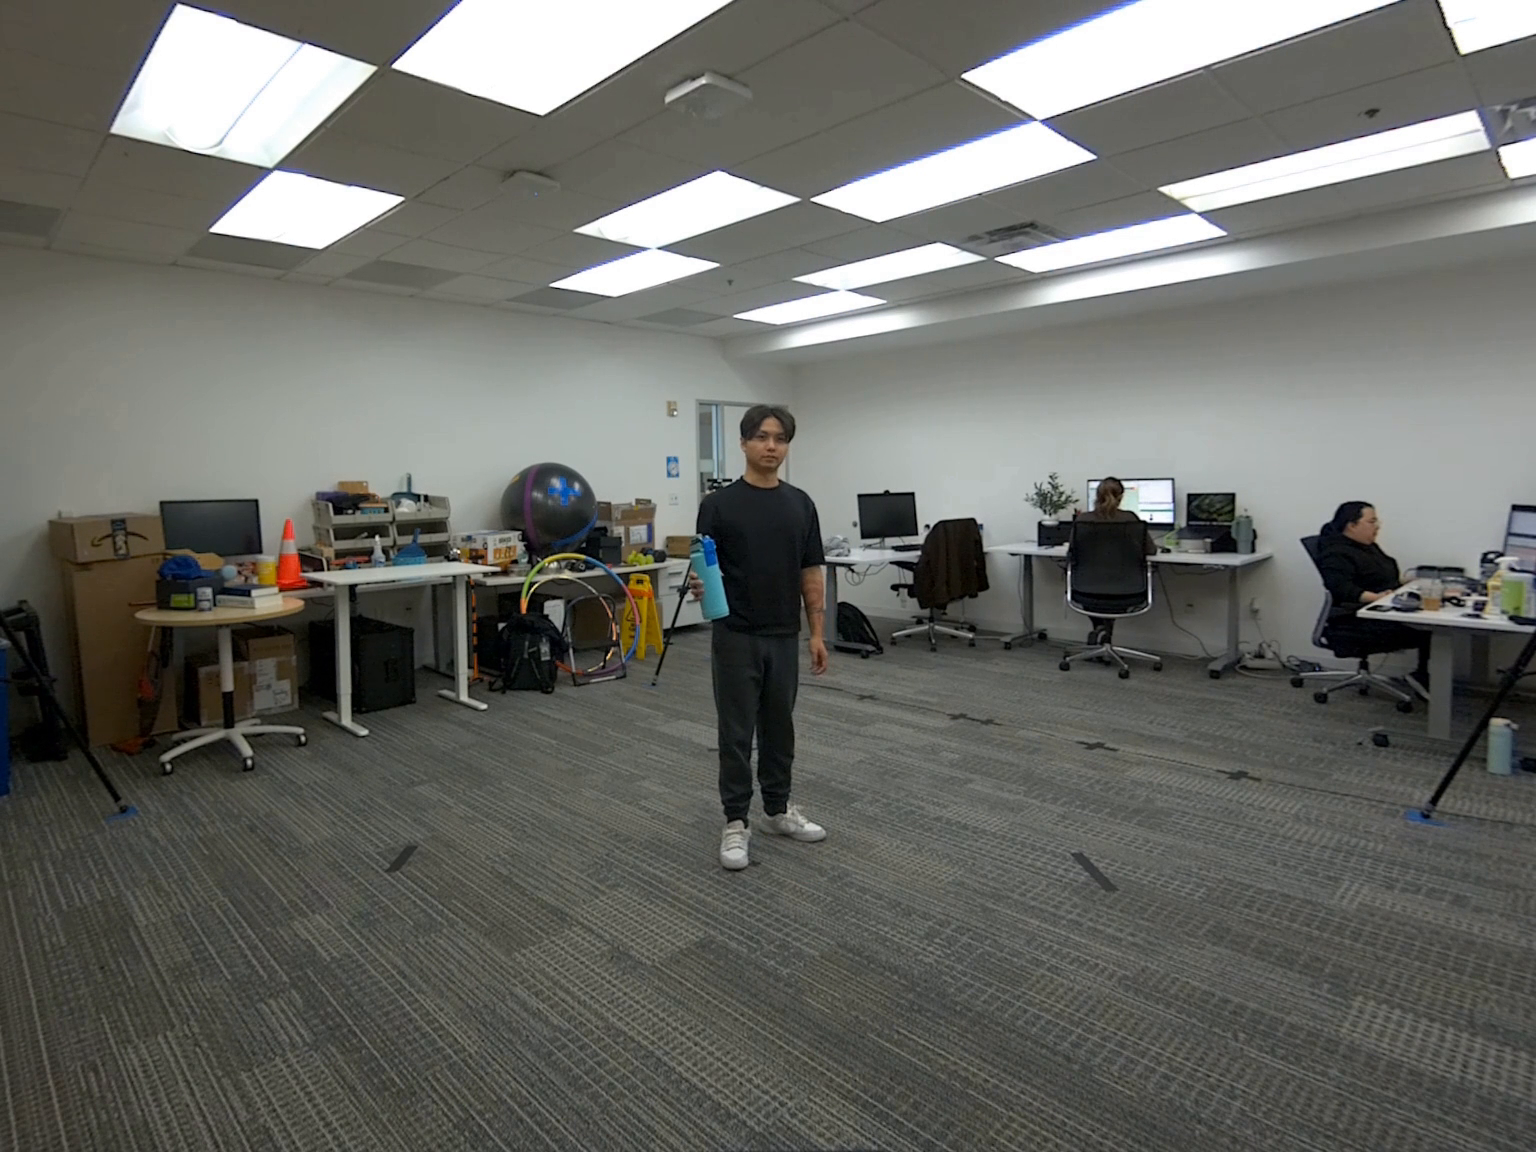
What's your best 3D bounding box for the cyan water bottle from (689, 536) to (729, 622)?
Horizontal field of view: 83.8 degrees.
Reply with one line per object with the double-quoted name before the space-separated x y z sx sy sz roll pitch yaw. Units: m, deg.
"cyan water bottle" -0.203 0.001 2.860 0.092 0.283 0.092 -10 2 -1
